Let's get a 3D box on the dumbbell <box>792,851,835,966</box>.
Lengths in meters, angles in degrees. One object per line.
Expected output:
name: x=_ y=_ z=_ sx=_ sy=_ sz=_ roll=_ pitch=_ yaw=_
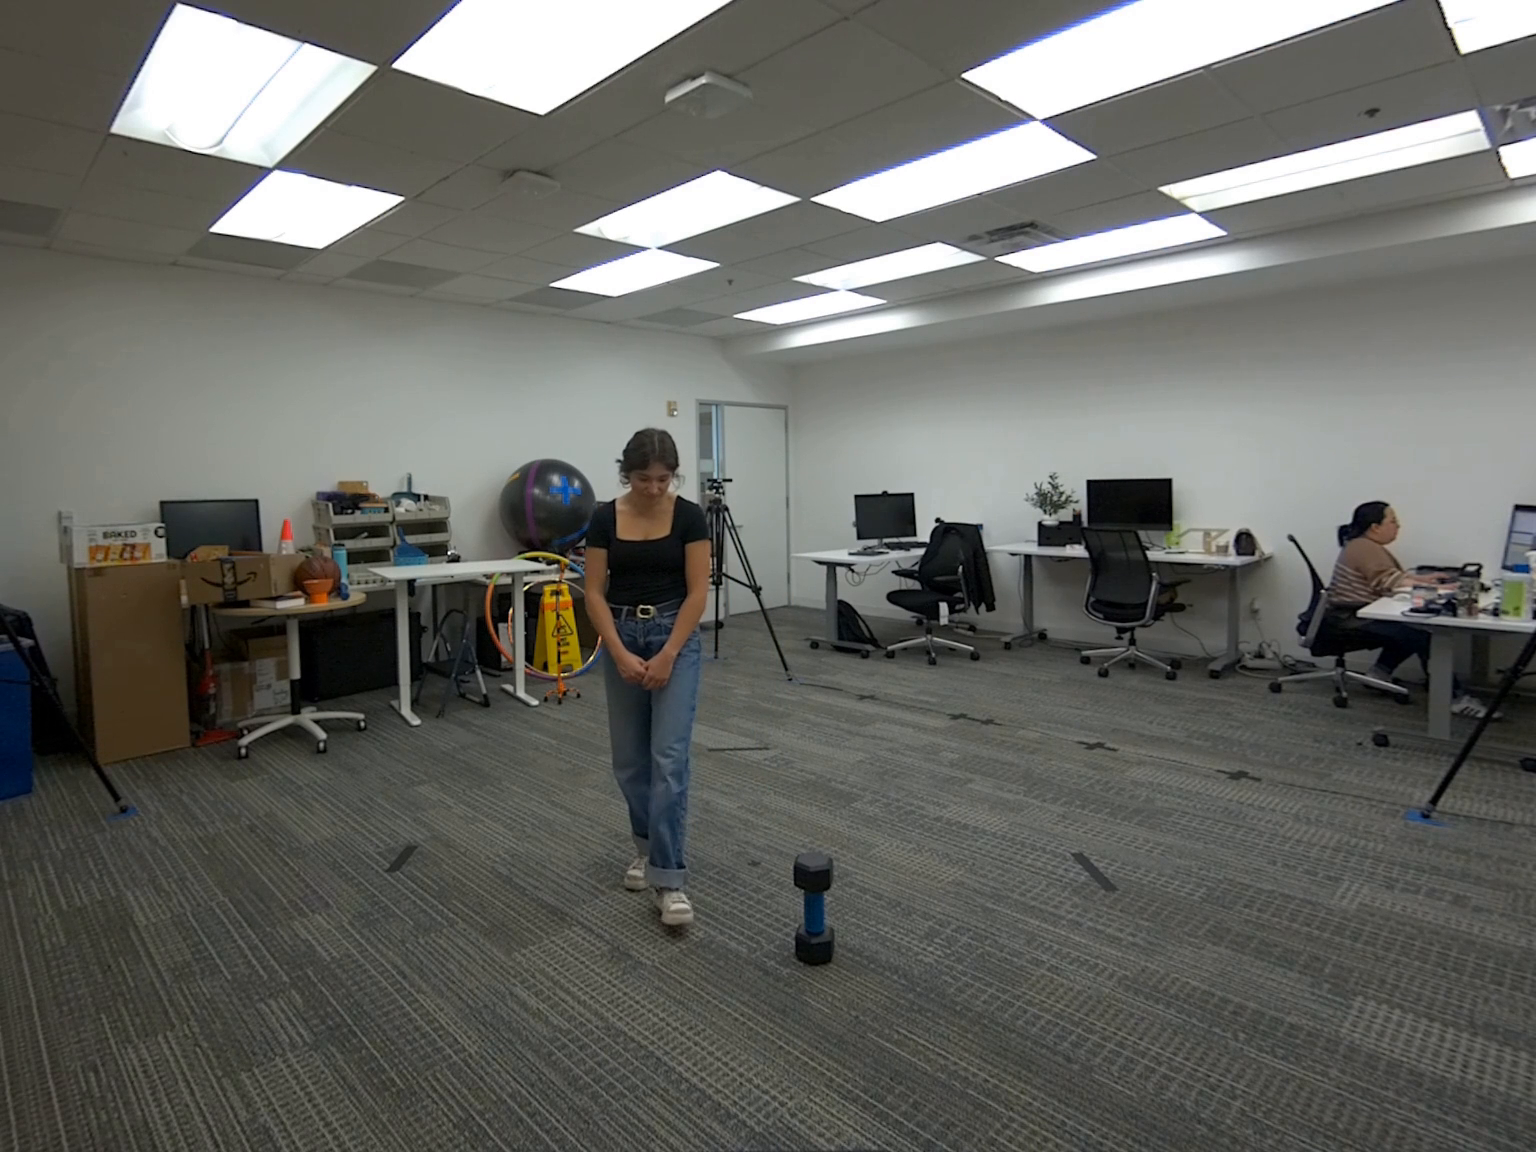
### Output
dumbbell: x=0.141 y=0.970 z=2.489 sx=0.121 sy=0.293 sz=0.110 roll=-2 pitch=3 yaw=-15
